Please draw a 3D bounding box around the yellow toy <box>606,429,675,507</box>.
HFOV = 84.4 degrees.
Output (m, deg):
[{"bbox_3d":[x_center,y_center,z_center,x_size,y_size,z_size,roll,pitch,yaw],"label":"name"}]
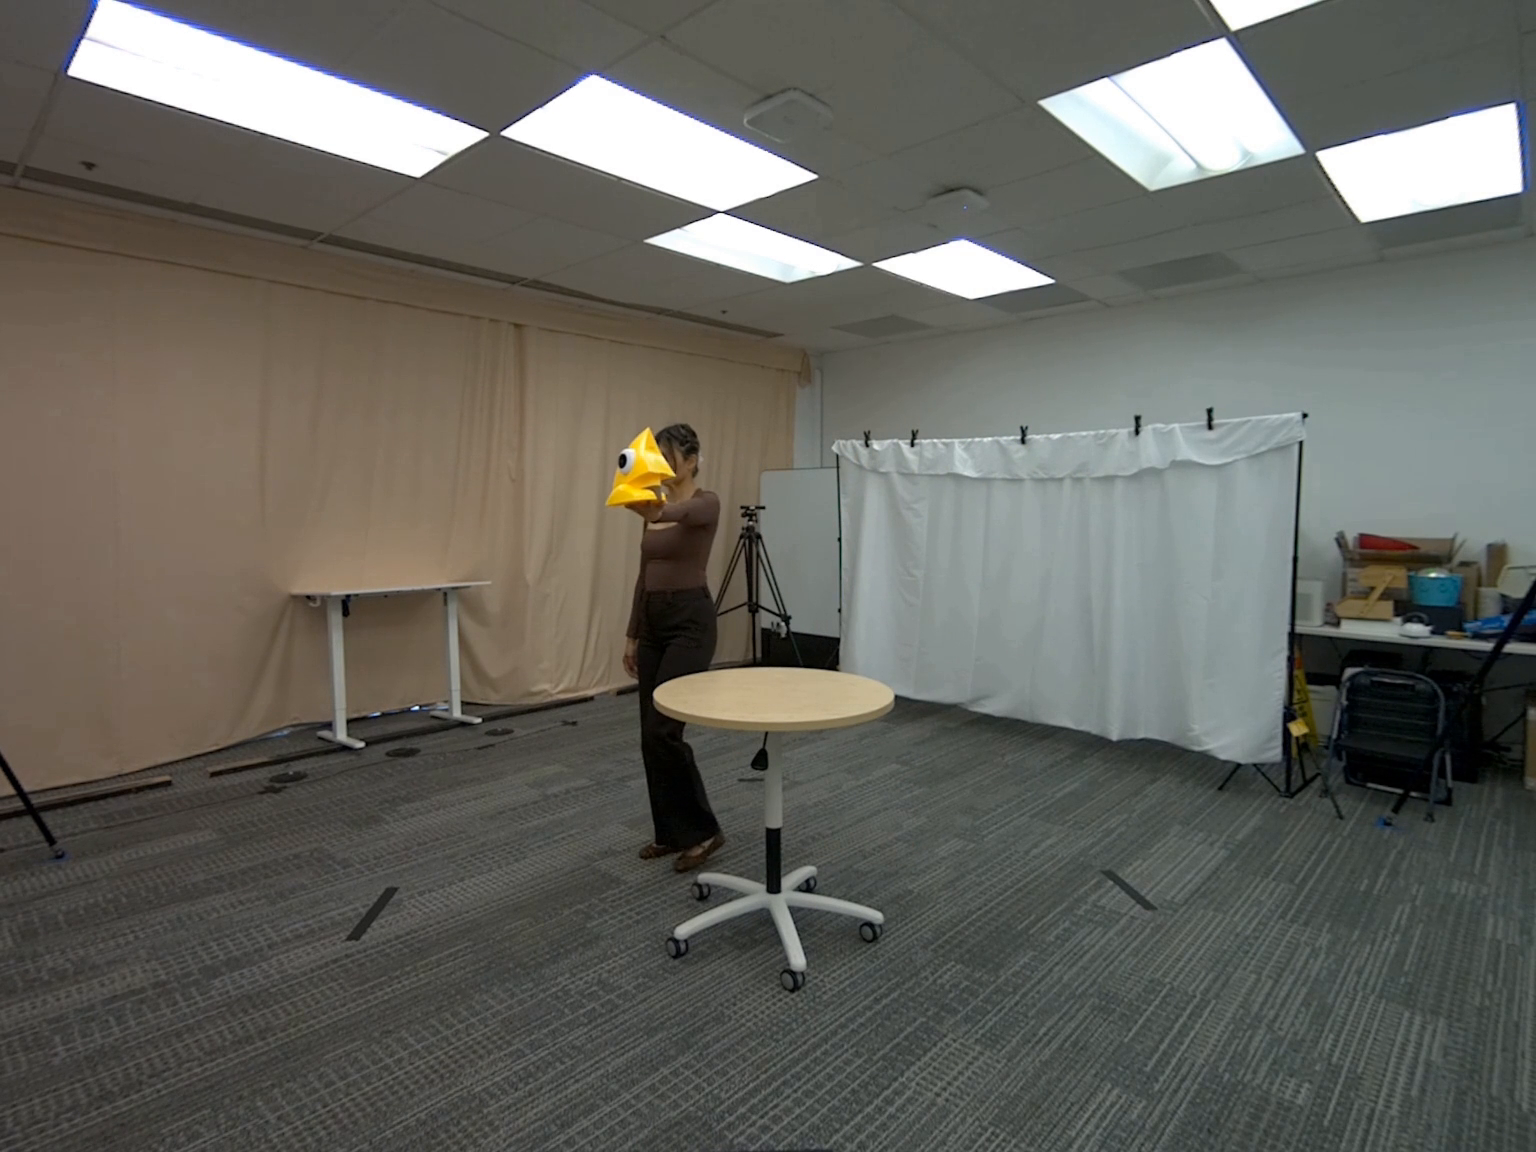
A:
[{"bbox_3d":[-0.412,-0.344,2.653,0.197,0.231,0.201,-7,-1,19],"label":"yellow toy"}]
